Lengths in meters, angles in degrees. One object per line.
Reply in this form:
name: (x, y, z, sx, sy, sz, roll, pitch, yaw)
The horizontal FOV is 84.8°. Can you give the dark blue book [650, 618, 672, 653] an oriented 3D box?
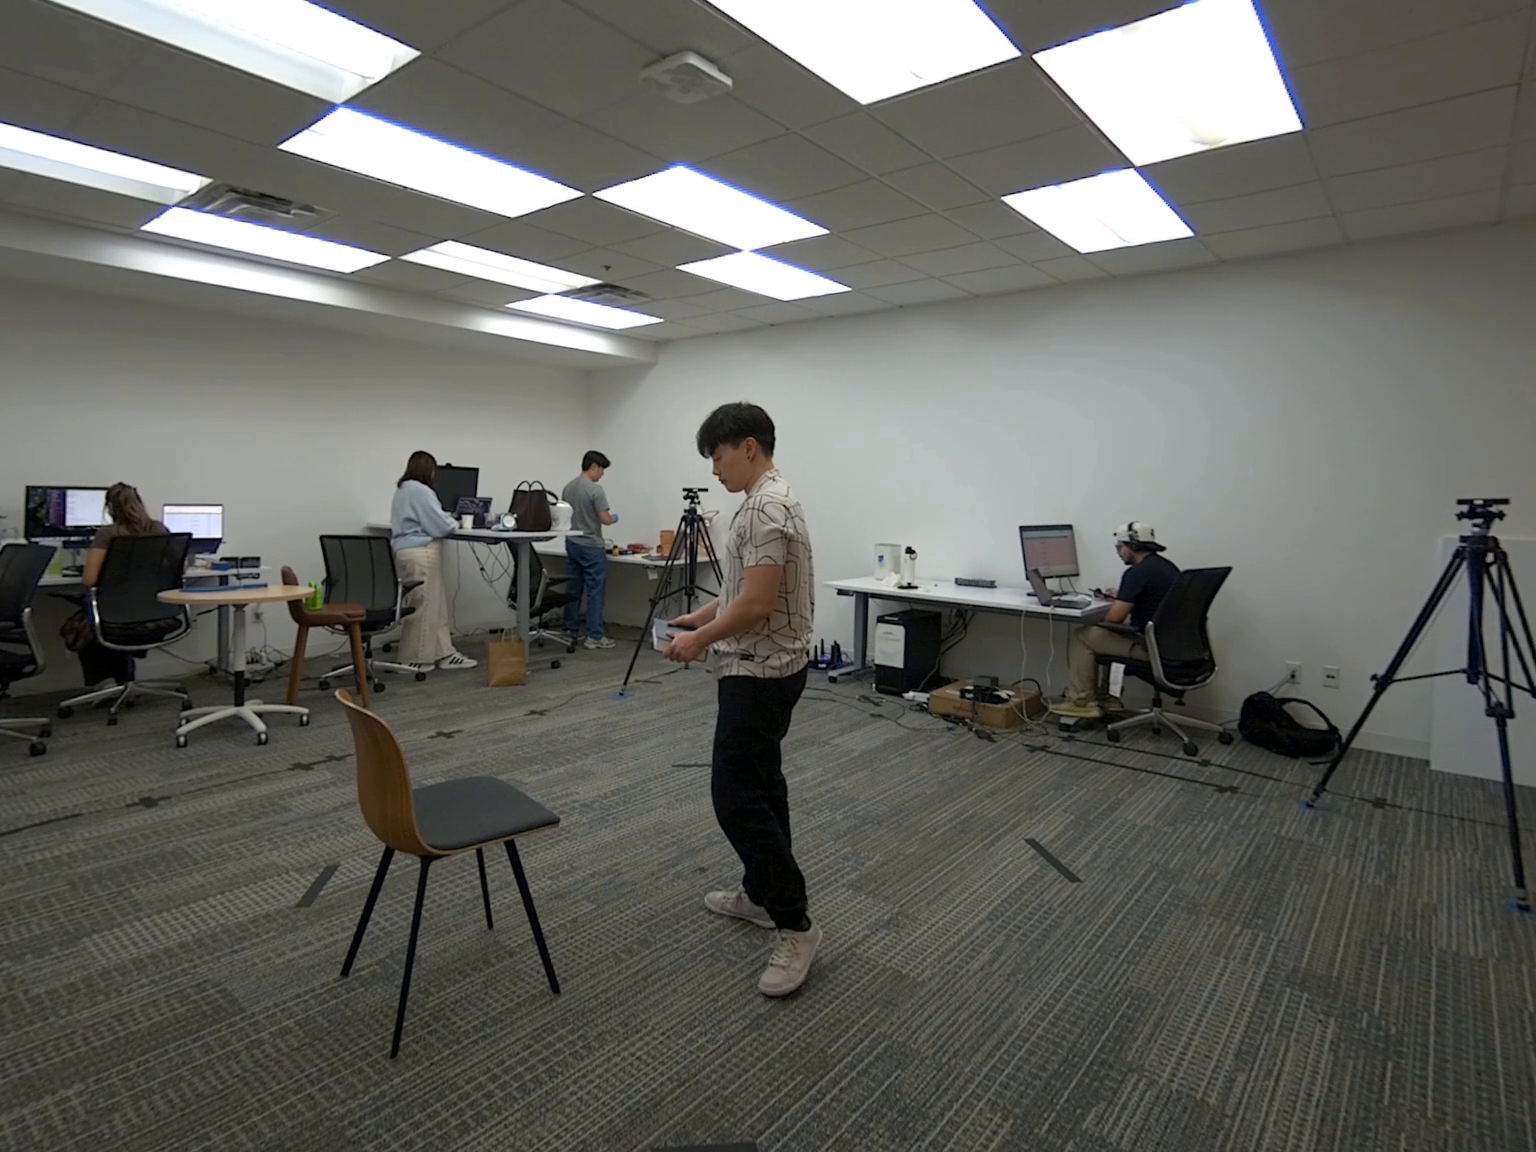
dark blue book: (-0.292, 0.195, 2.674, 0.163, 0.045, 0.247, 12, 10, -1)
